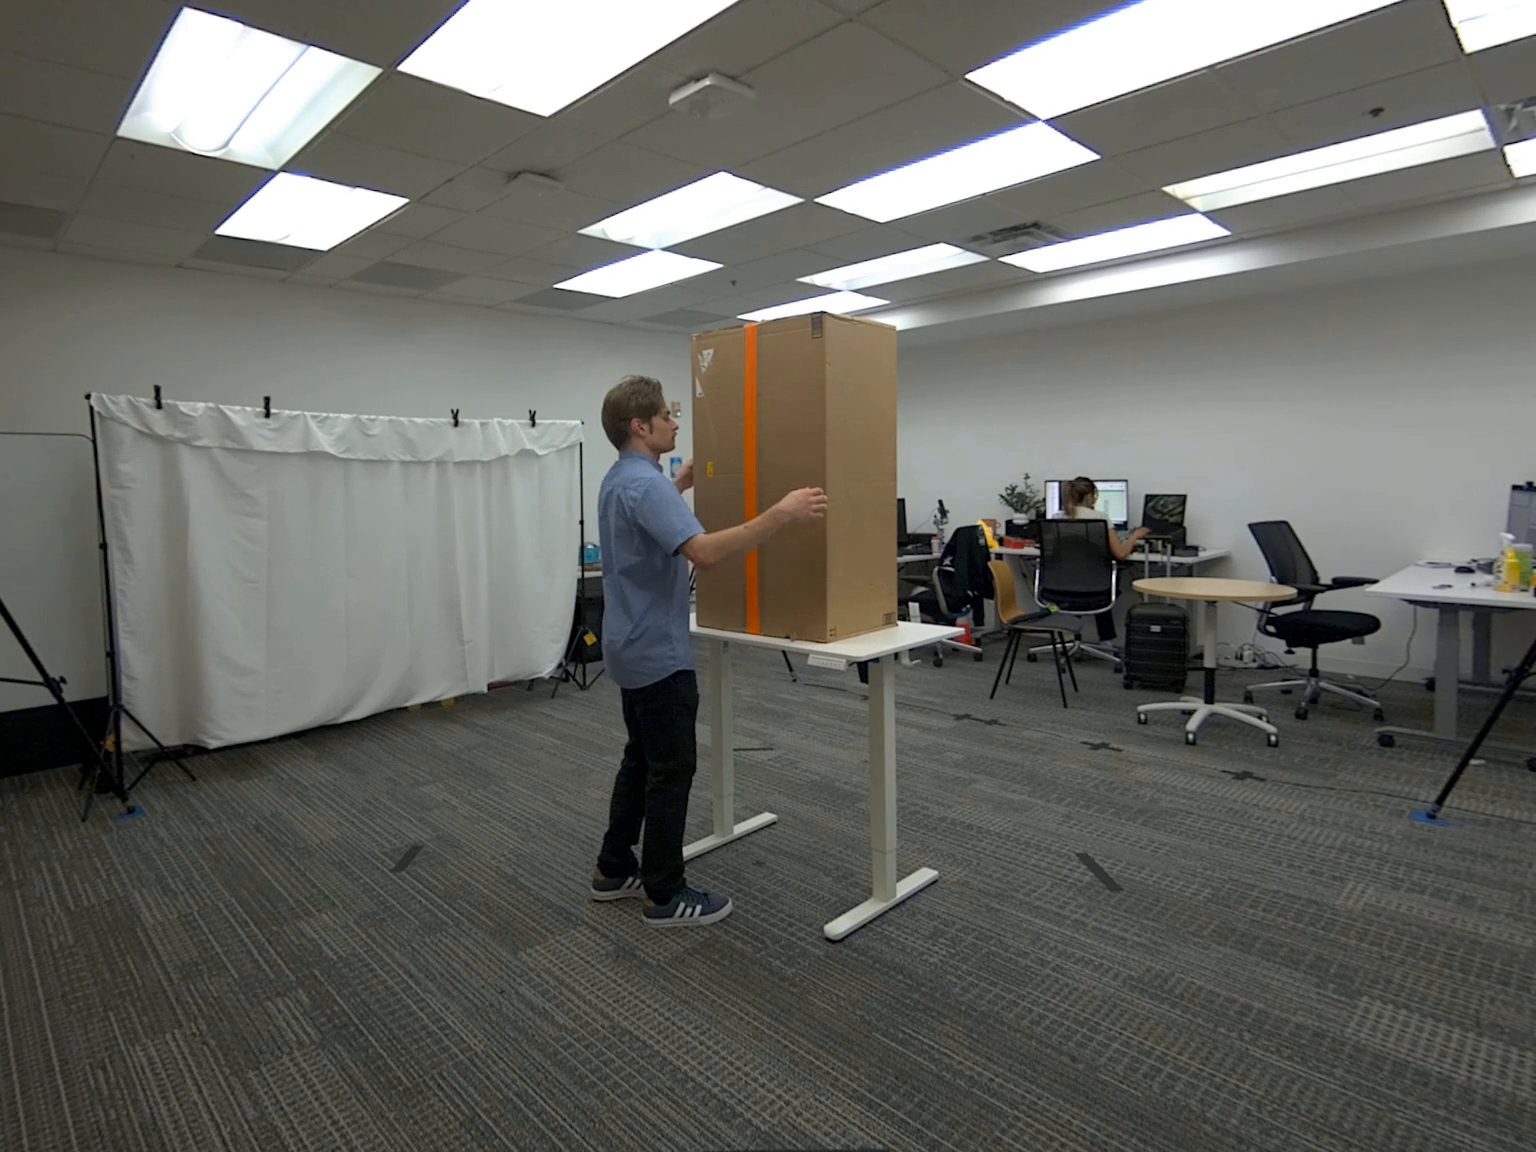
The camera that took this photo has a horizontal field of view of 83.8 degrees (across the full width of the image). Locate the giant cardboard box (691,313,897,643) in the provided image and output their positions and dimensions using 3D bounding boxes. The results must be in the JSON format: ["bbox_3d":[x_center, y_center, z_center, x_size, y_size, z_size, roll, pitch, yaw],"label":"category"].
[{"bbox_3d":[0.091,-0.330,2.953,0.595,1.022,0.415,2,5,42],"label":"giant cardboard box"}]
